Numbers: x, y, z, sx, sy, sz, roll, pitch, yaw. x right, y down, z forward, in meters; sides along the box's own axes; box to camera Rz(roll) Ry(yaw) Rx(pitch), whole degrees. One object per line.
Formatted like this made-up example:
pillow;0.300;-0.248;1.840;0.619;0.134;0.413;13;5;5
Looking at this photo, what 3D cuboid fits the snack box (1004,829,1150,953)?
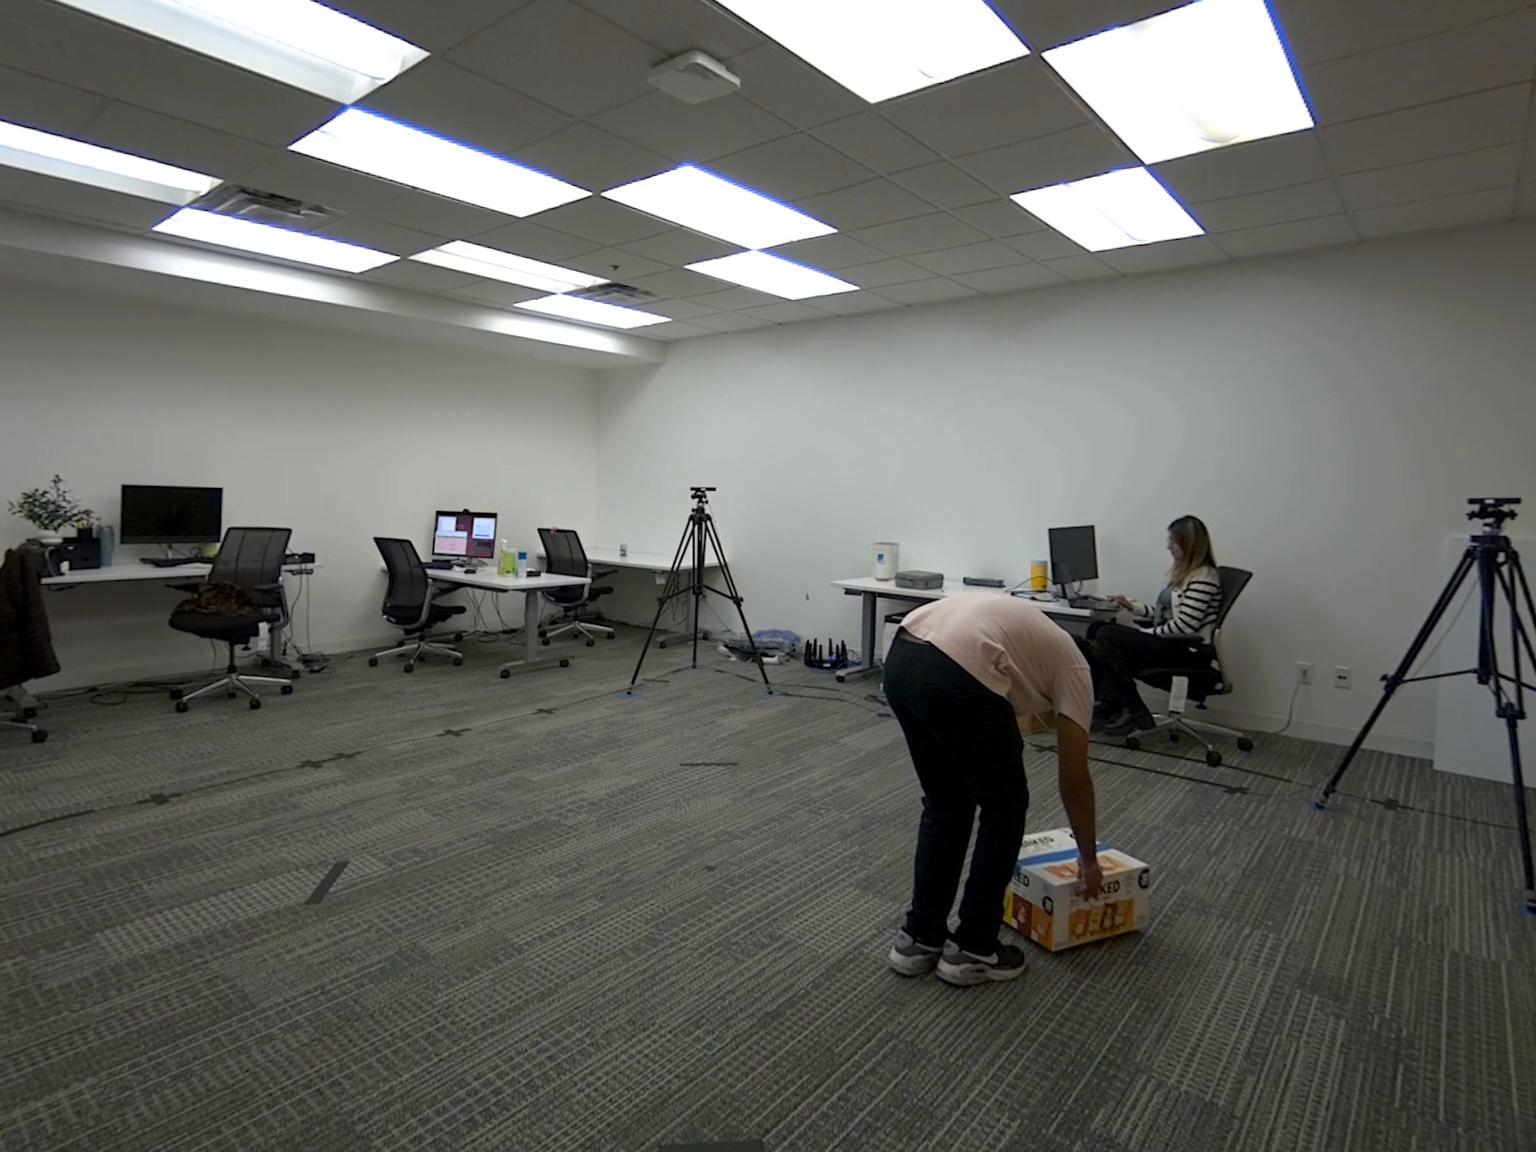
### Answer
snack box;0.958;1.005;2.785;0.396;0.205;0.350;-1;5;-25
